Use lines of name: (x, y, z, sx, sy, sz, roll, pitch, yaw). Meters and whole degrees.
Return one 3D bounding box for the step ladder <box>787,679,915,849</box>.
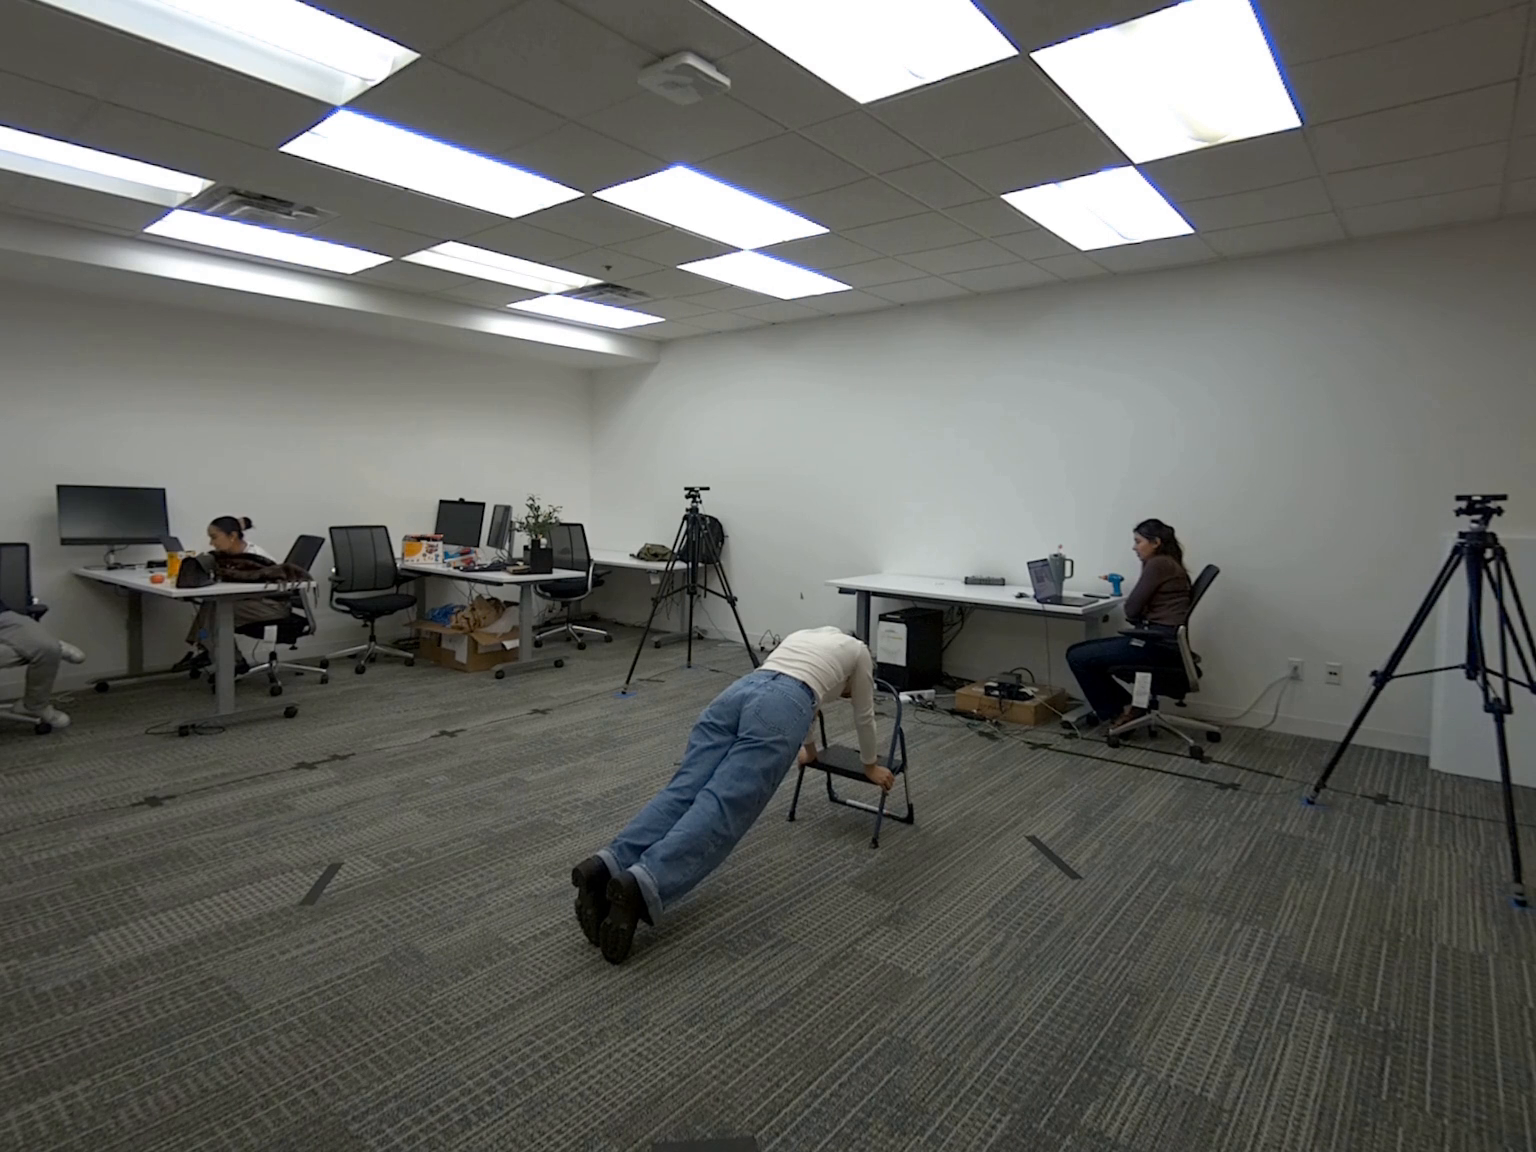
step ladder: (0.352, 0.729, 3.562, 0.445, 0.604, 0.339, 4, 4, 38)
